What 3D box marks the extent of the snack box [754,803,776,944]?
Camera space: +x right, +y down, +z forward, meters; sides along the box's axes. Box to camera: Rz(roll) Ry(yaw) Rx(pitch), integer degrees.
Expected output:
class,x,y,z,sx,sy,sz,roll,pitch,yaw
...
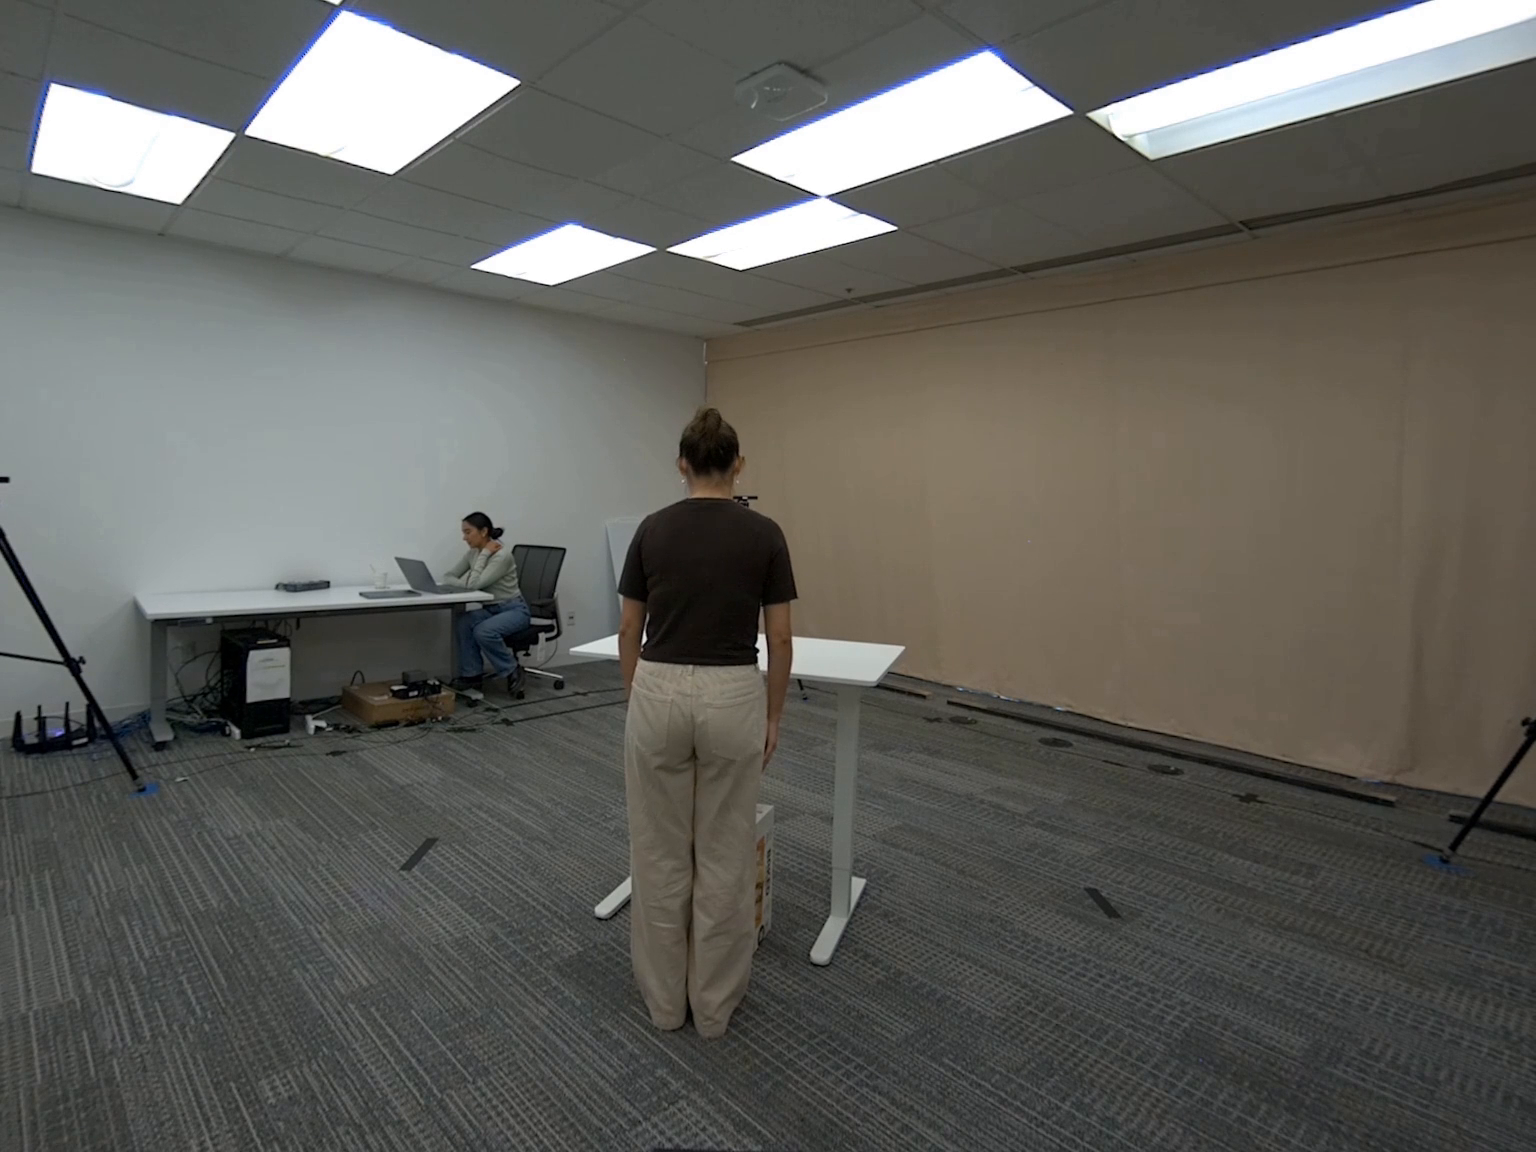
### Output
class,x,y,z,sx,sy,sz,roll,pitch,yaw
snack box,-0.179,0.941,2.667,0.345,0.404,0.203,3,2,19
